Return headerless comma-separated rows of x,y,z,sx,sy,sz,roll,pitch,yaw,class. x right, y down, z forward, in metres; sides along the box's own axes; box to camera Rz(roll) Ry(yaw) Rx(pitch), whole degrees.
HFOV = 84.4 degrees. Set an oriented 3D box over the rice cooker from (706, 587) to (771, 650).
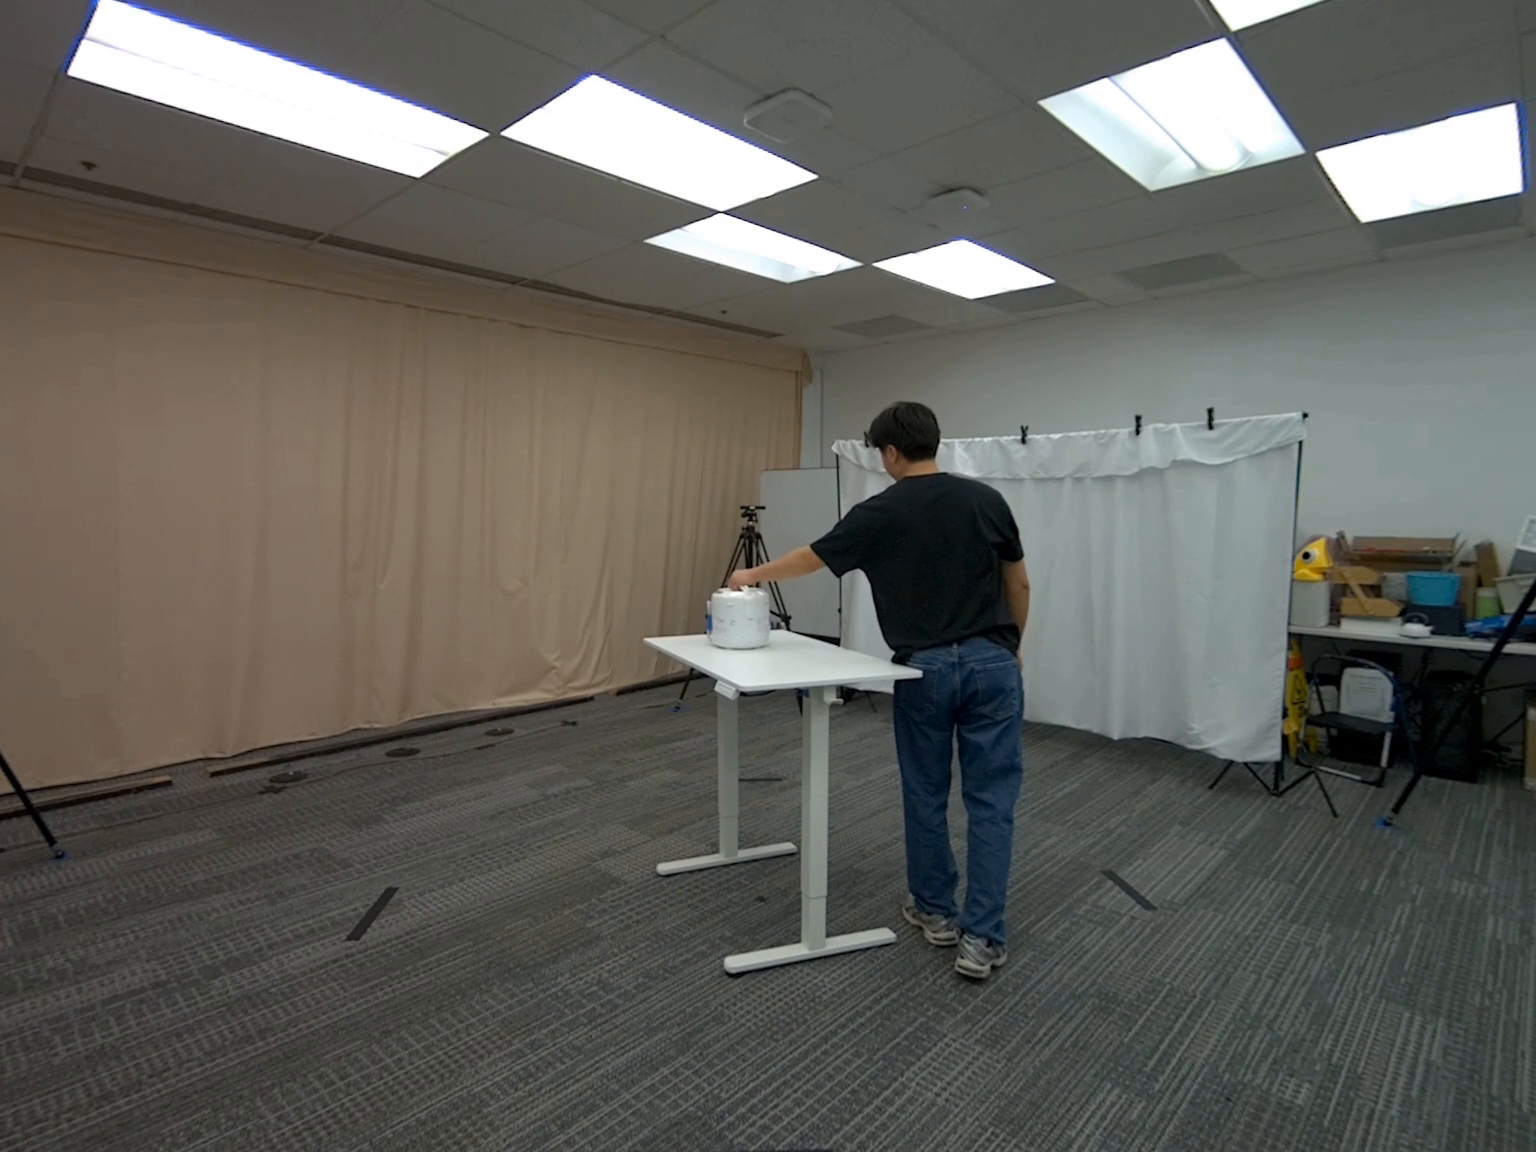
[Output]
-0.098,0.138,3.060,0.213,0.232,0.225,-1,4,-19,rice cooker
